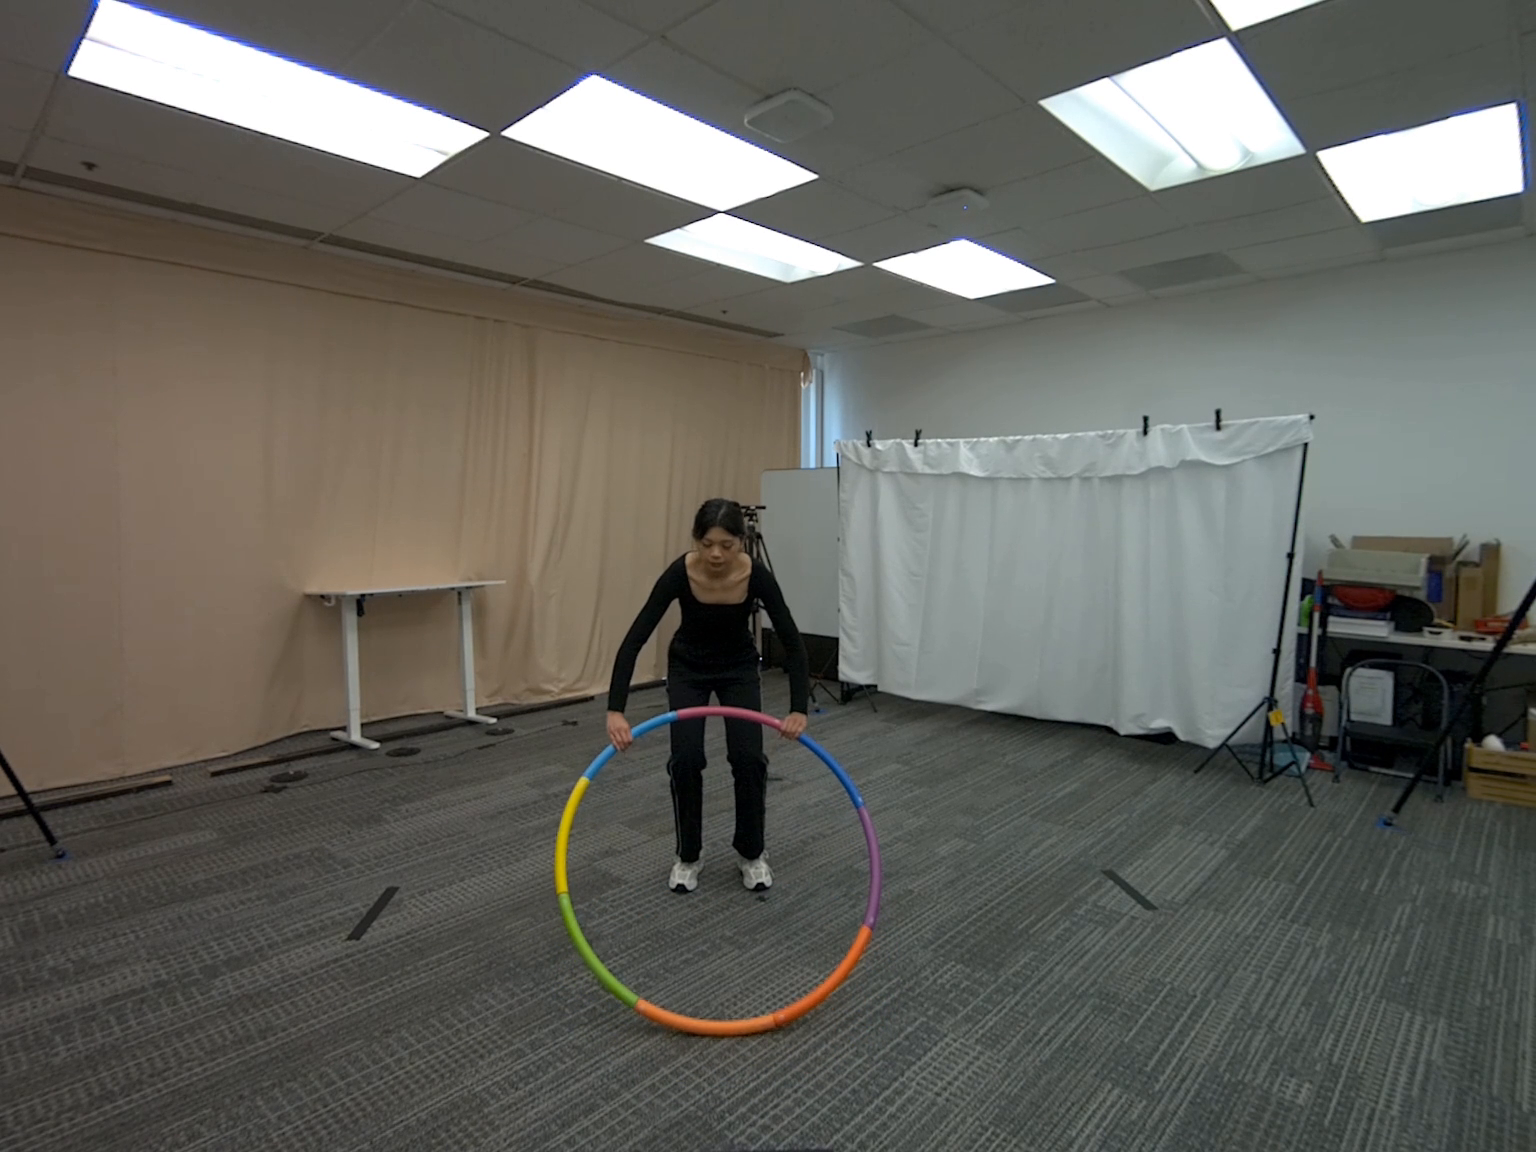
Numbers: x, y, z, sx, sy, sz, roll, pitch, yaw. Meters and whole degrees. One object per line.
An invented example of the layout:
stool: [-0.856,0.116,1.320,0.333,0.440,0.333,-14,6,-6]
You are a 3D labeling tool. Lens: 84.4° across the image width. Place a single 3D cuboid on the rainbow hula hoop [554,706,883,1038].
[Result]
rainbow hula hoop: [-0.137,0.817,2.539,0.976,0.997,0.035,1,-42,-3]
